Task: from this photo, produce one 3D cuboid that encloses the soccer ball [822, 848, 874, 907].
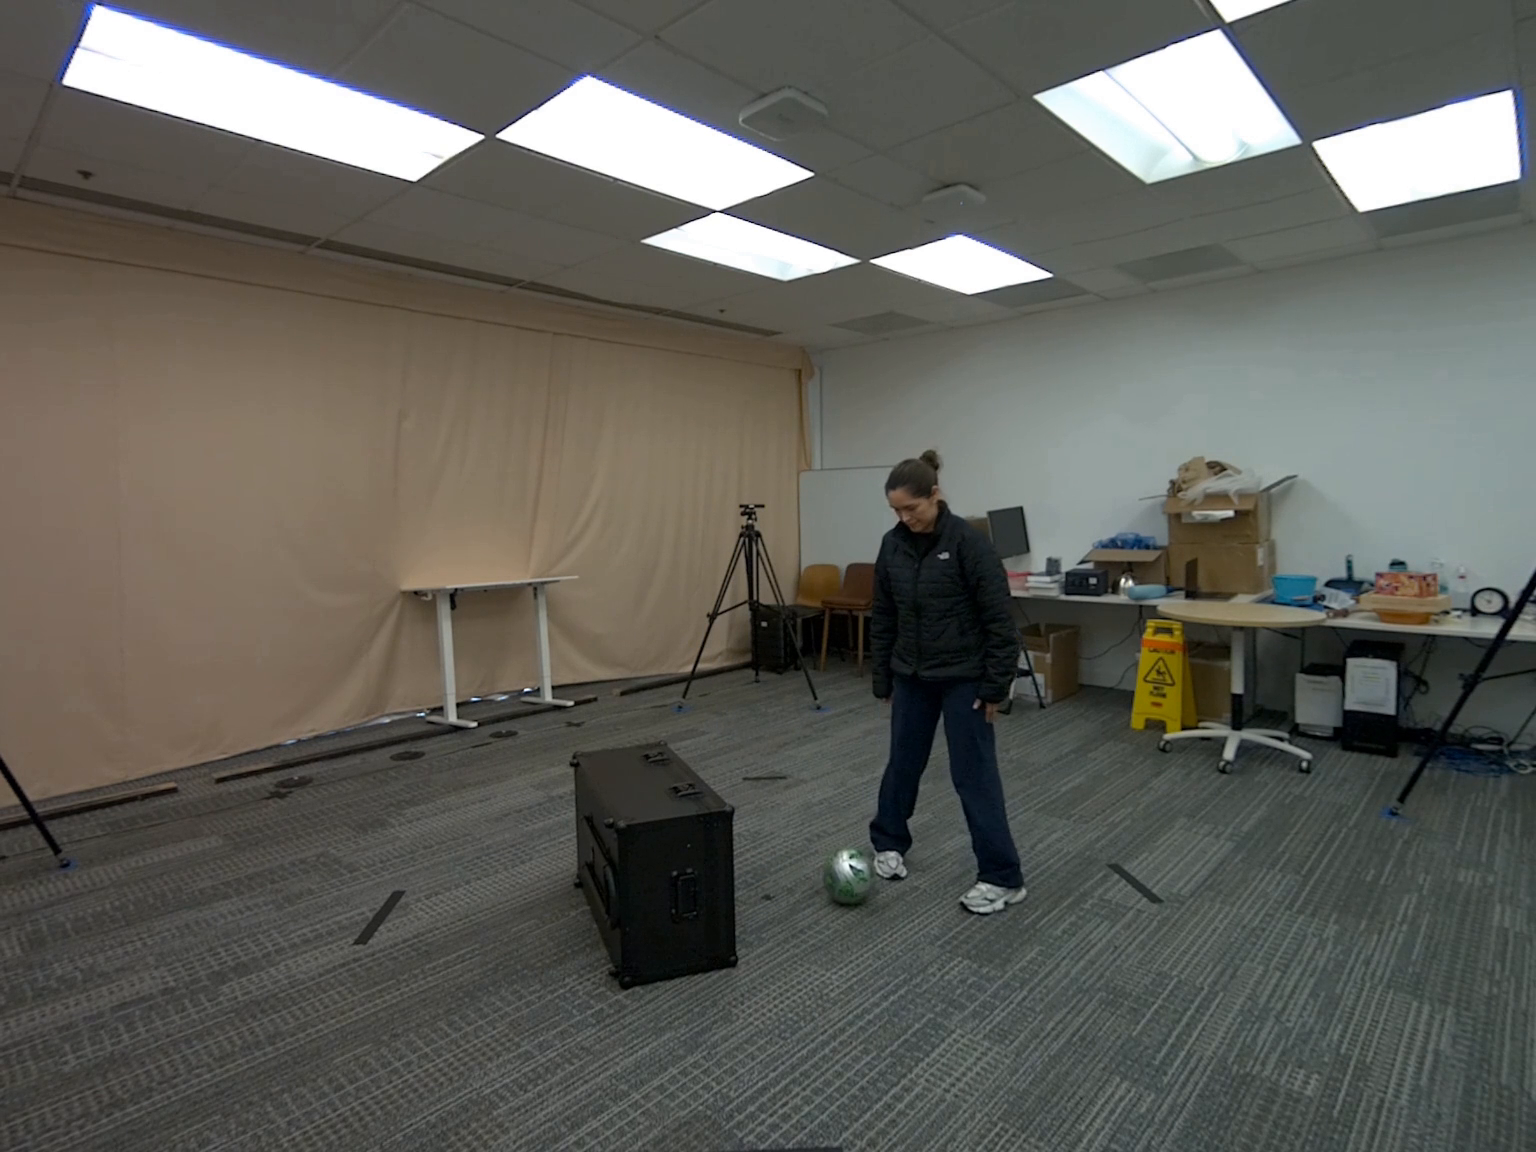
[{"bbox_3d":[0.282,1.053,2.930,0.187,0.187,0.188,-1,4,-2],"label":"soccer ball"}]
